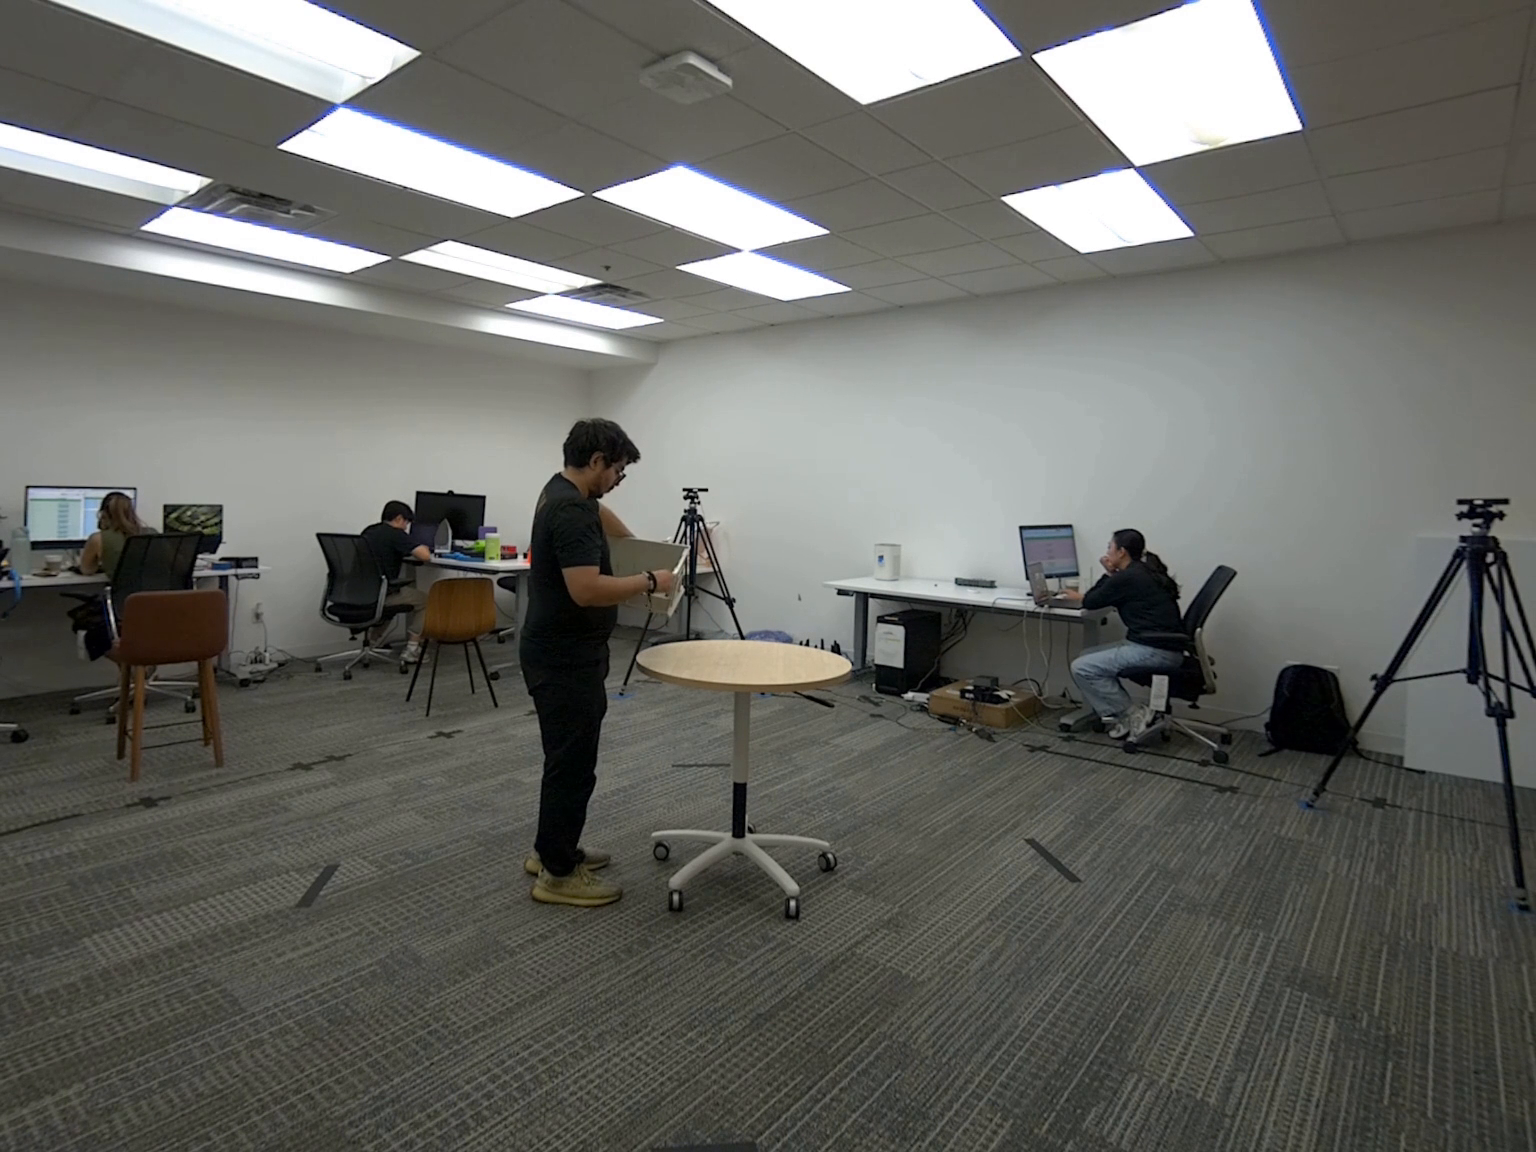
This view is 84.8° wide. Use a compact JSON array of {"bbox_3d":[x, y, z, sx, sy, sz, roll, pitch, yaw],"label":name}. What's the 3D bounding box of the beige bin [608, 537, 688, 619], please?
[{"bbox_3d":[-0.526,-0.016,3.154,0.423,0.187,0.380,8,11,1],"label":"beige bin"}]
